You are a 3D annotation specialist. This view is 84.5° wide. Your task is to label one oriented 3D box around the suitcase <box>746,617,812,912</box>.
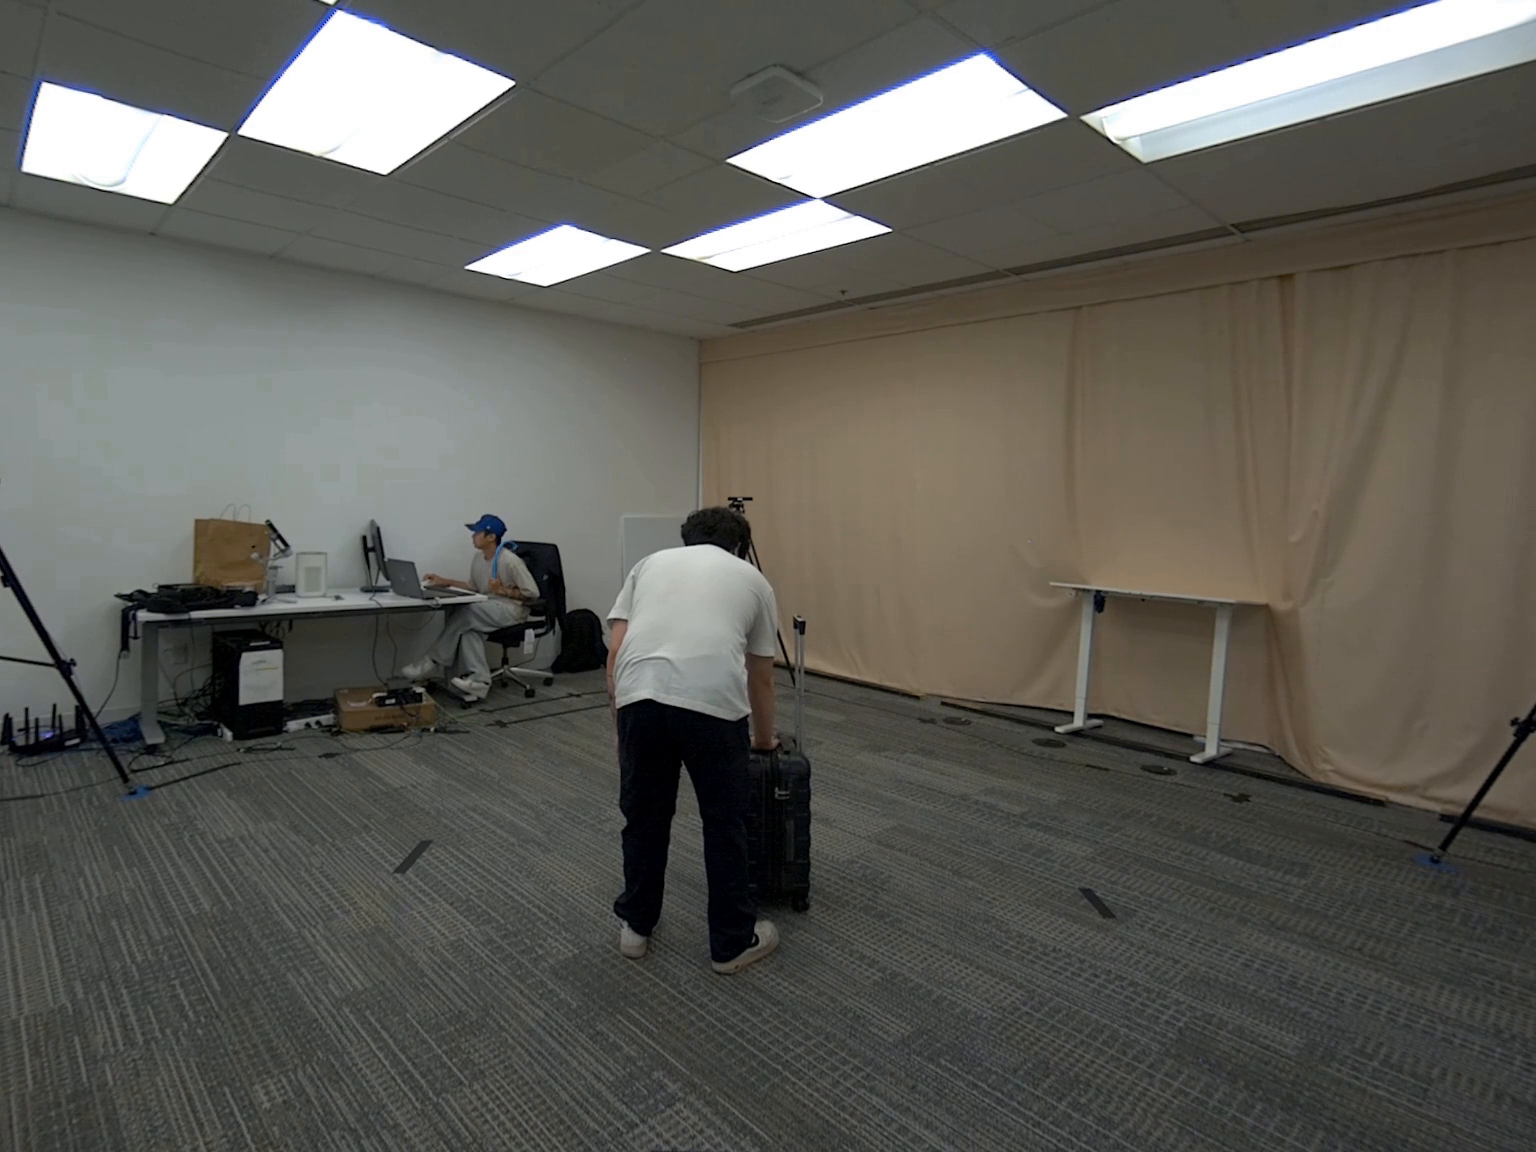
[{"bbox_3d":[0.002,0.651,2.947,0.256,0.976,0.386,-2,3,-4],"label":"suitcase"}]
